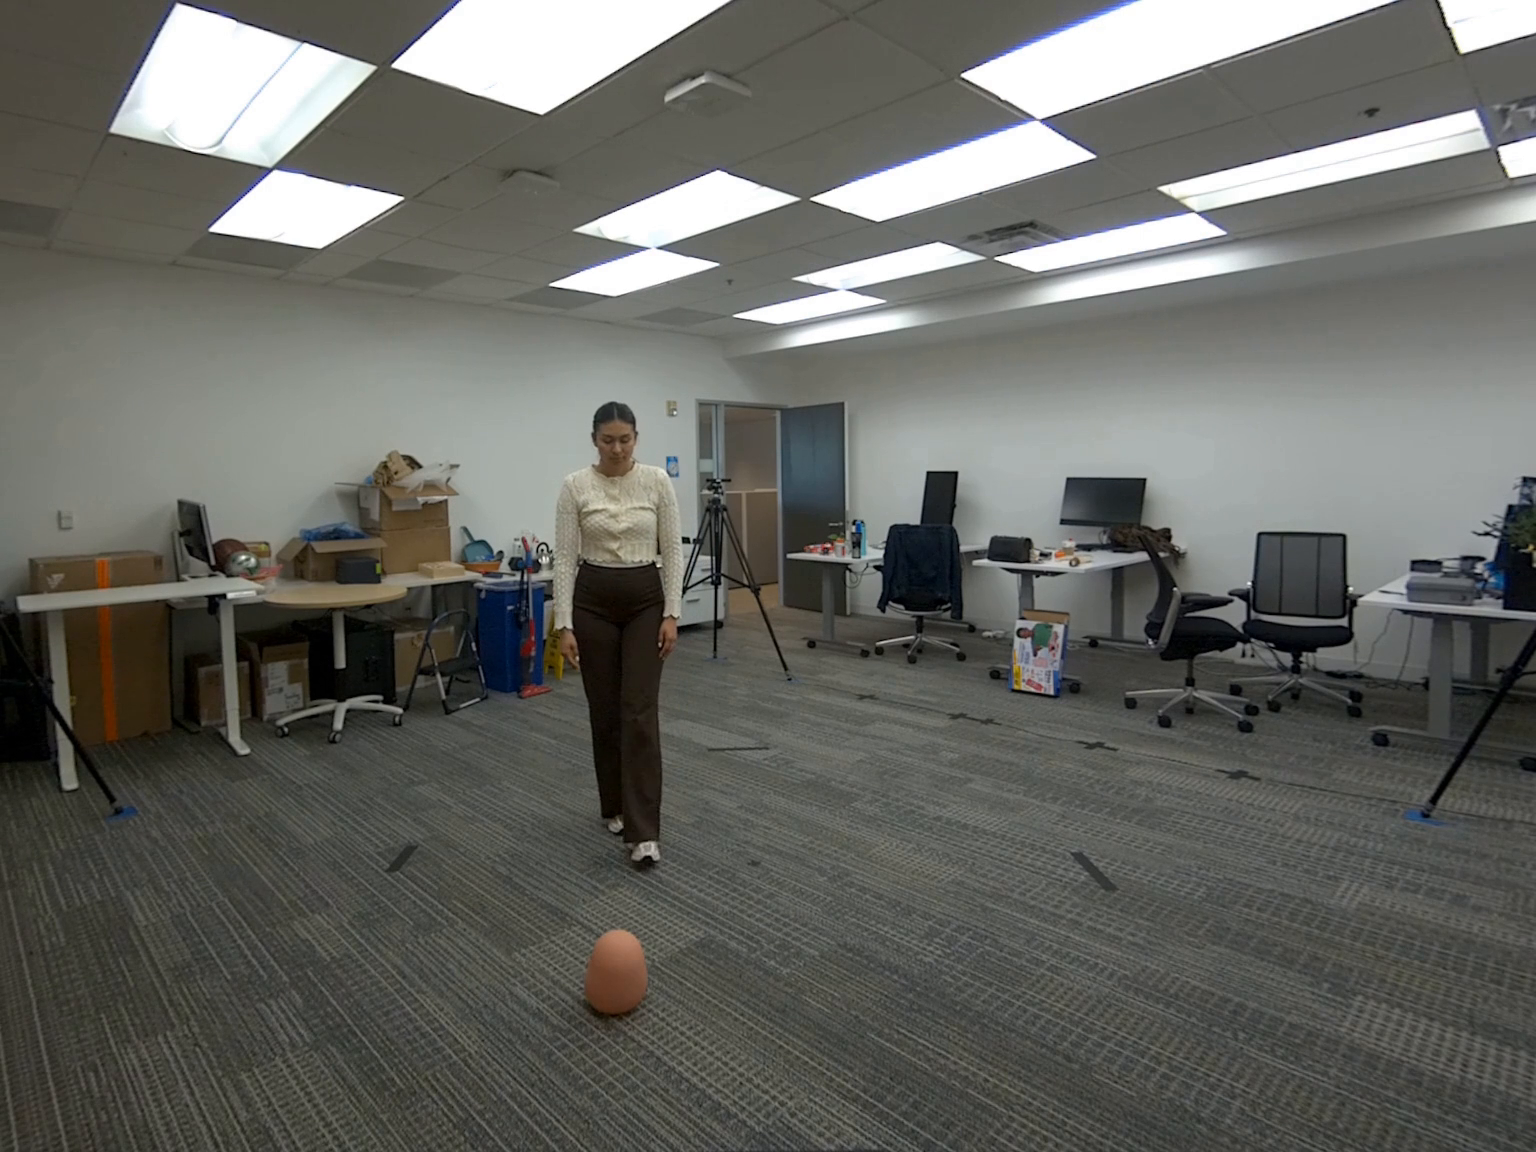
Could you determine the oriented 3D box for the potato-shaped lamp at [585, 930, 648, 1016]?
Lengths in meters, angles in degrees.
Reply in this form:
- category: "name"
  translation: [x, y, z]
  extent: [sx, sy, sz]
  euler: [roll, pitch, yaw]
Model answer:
- category: "potato-shaped lamp"
  translation: [-0.397, 1.046, 2.287]
  extent: [0.161, 0.197, 0.176]
  euler: [-2, 6, -31]
